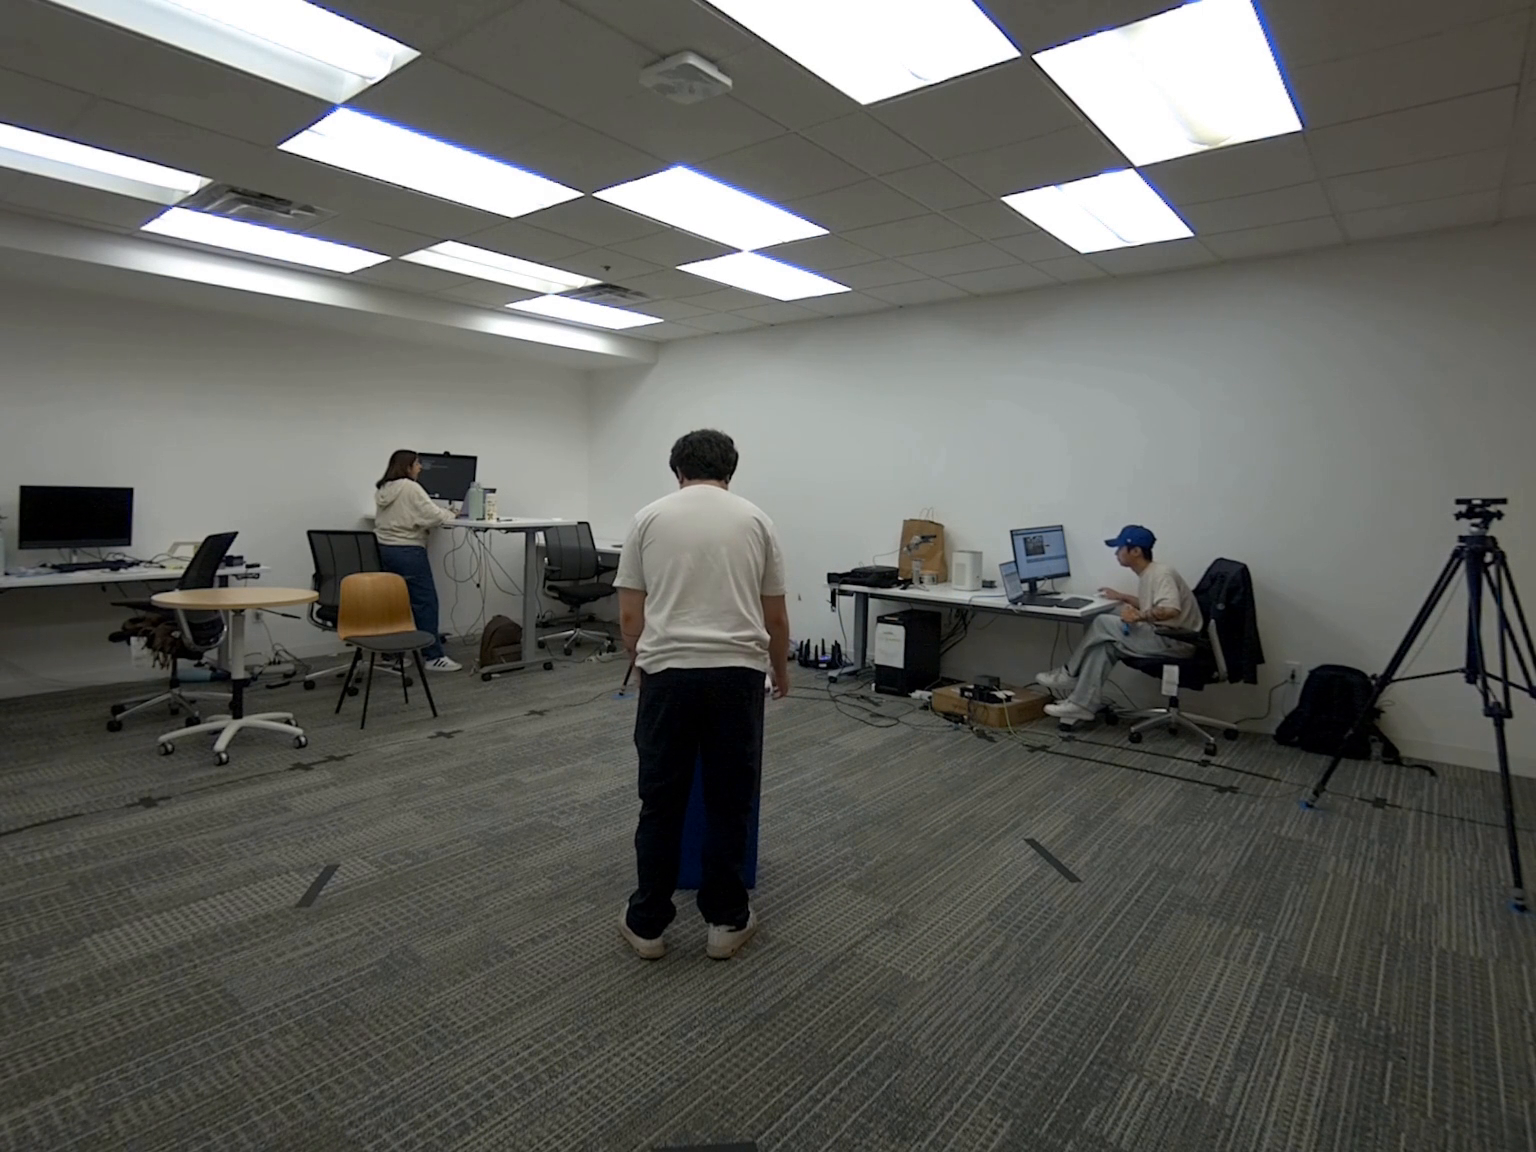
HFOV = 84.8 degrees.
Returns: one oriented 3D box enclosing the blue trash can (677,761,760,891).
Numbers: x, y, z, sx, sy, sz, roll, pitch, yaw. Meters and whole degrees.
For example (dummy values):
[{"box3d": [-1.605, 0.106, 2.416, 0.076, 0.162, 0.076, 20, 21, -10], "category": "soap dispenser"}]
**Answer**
[{"box3d": [-0.212, 0.712, 3.085, 0.376, 0.711, 0.377, 1, 3, -5], "category": "blue trash can"}]
